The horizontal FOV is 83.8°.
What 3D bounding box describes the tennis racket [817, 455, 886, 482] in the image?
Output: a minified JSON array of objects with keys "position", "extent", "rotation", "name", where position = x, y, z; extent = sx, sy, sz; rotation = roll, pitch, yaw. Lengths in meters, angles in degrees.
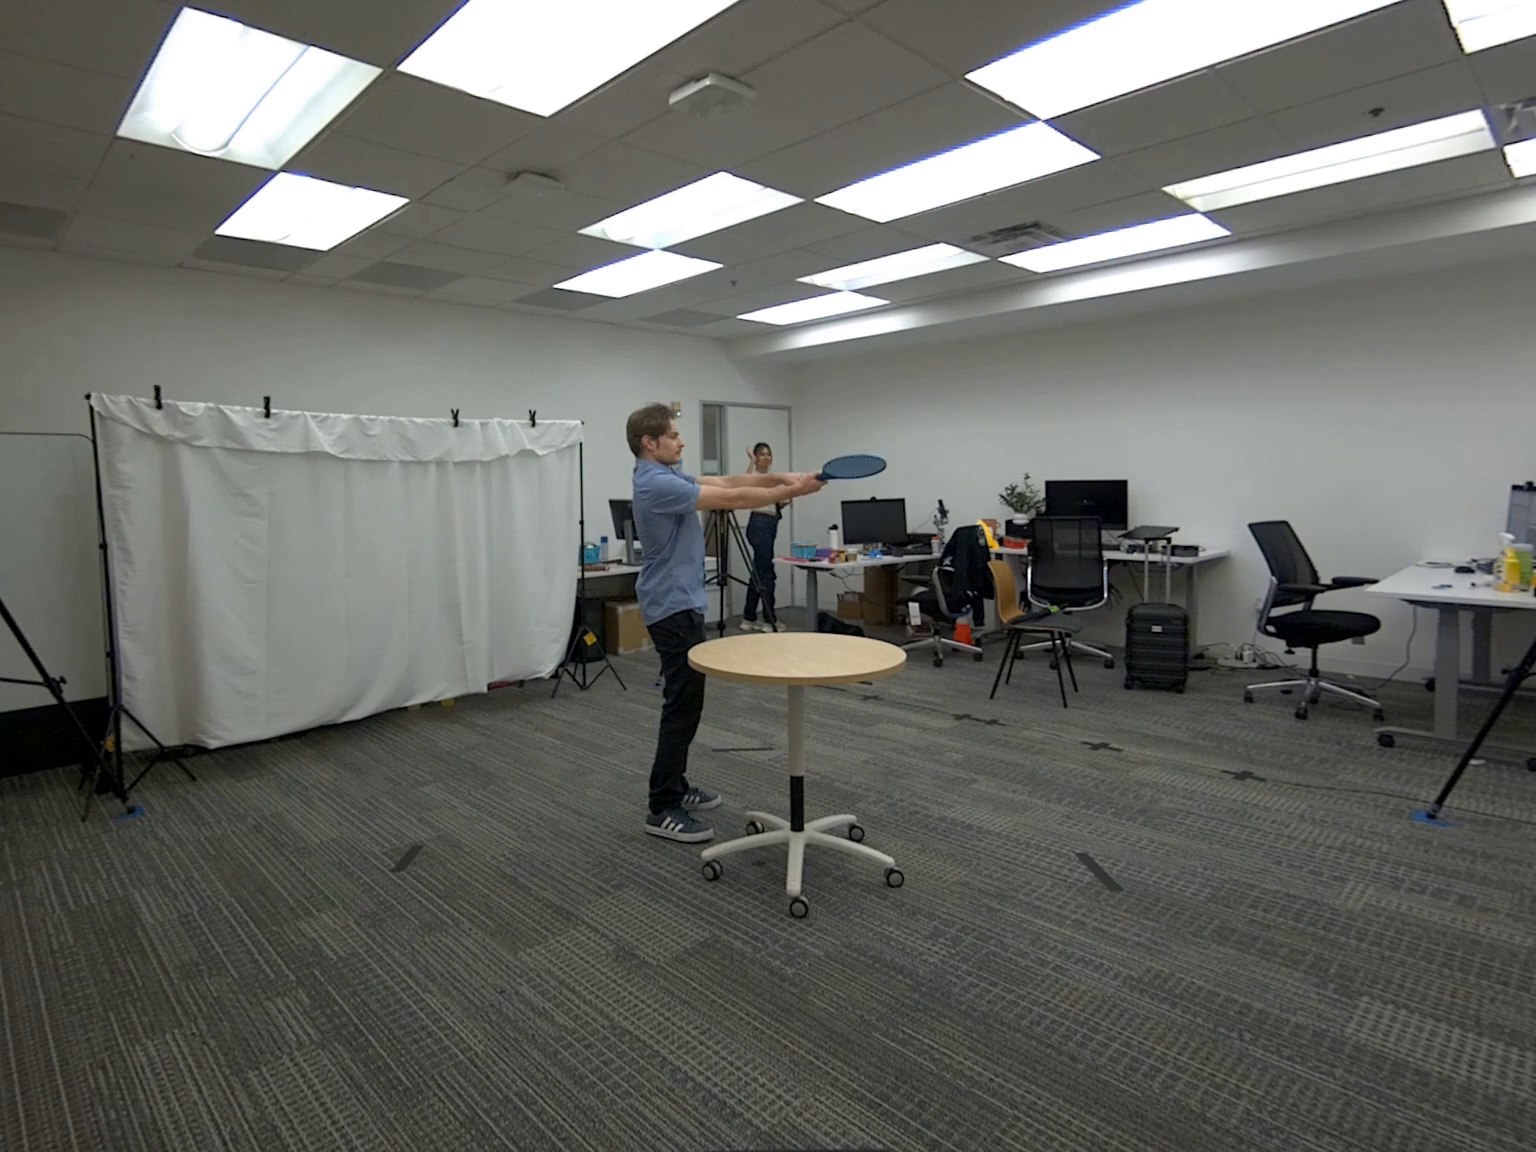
[{"position":[0.293,-0.412,3.350],"extent":[0.443,0.032,0.206],"rotation":[-10,-23,41],"name":"tennis racket"}]
